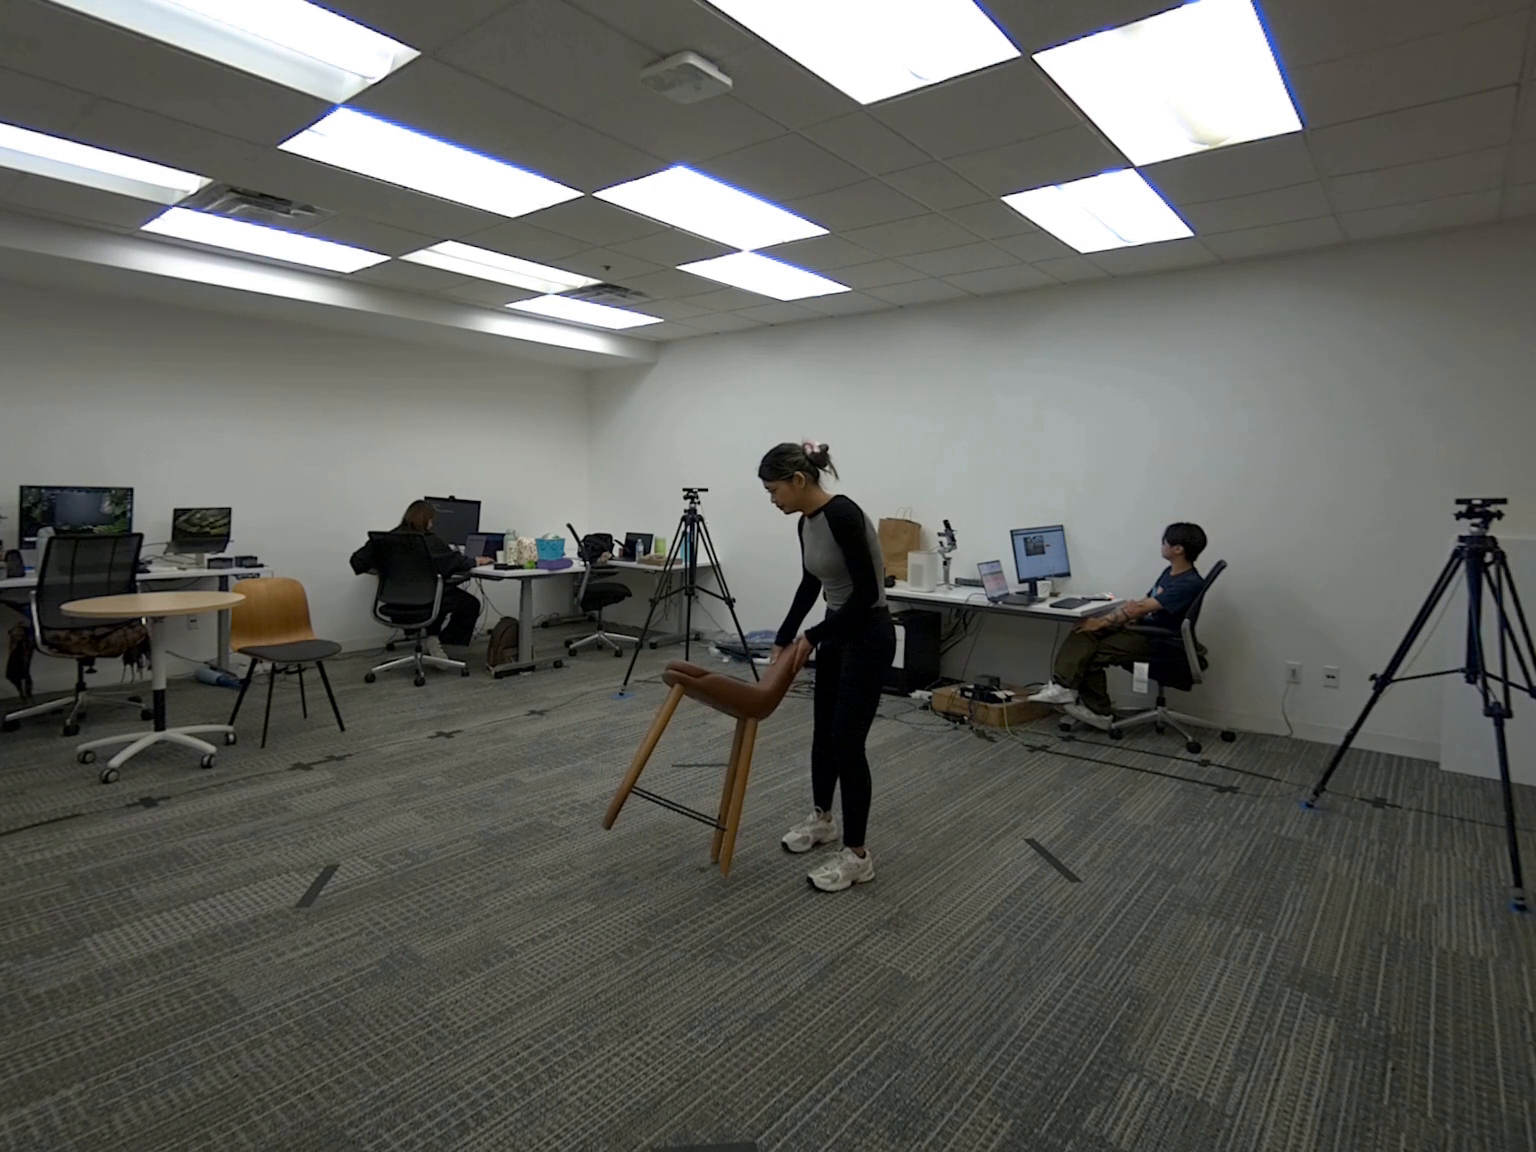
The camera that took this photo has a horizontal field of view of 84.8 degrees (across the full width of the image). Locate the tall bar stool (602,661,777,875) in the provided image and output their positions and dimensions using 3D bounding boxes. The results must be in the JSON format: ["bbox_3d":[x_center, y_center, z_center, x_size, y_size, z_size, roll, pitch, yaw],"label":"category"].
[{"bbox_3d":[-0.226,0.561,3.116,0.468,0.896,0.453,22,-15,0],"label":"tall bar stool"}]
